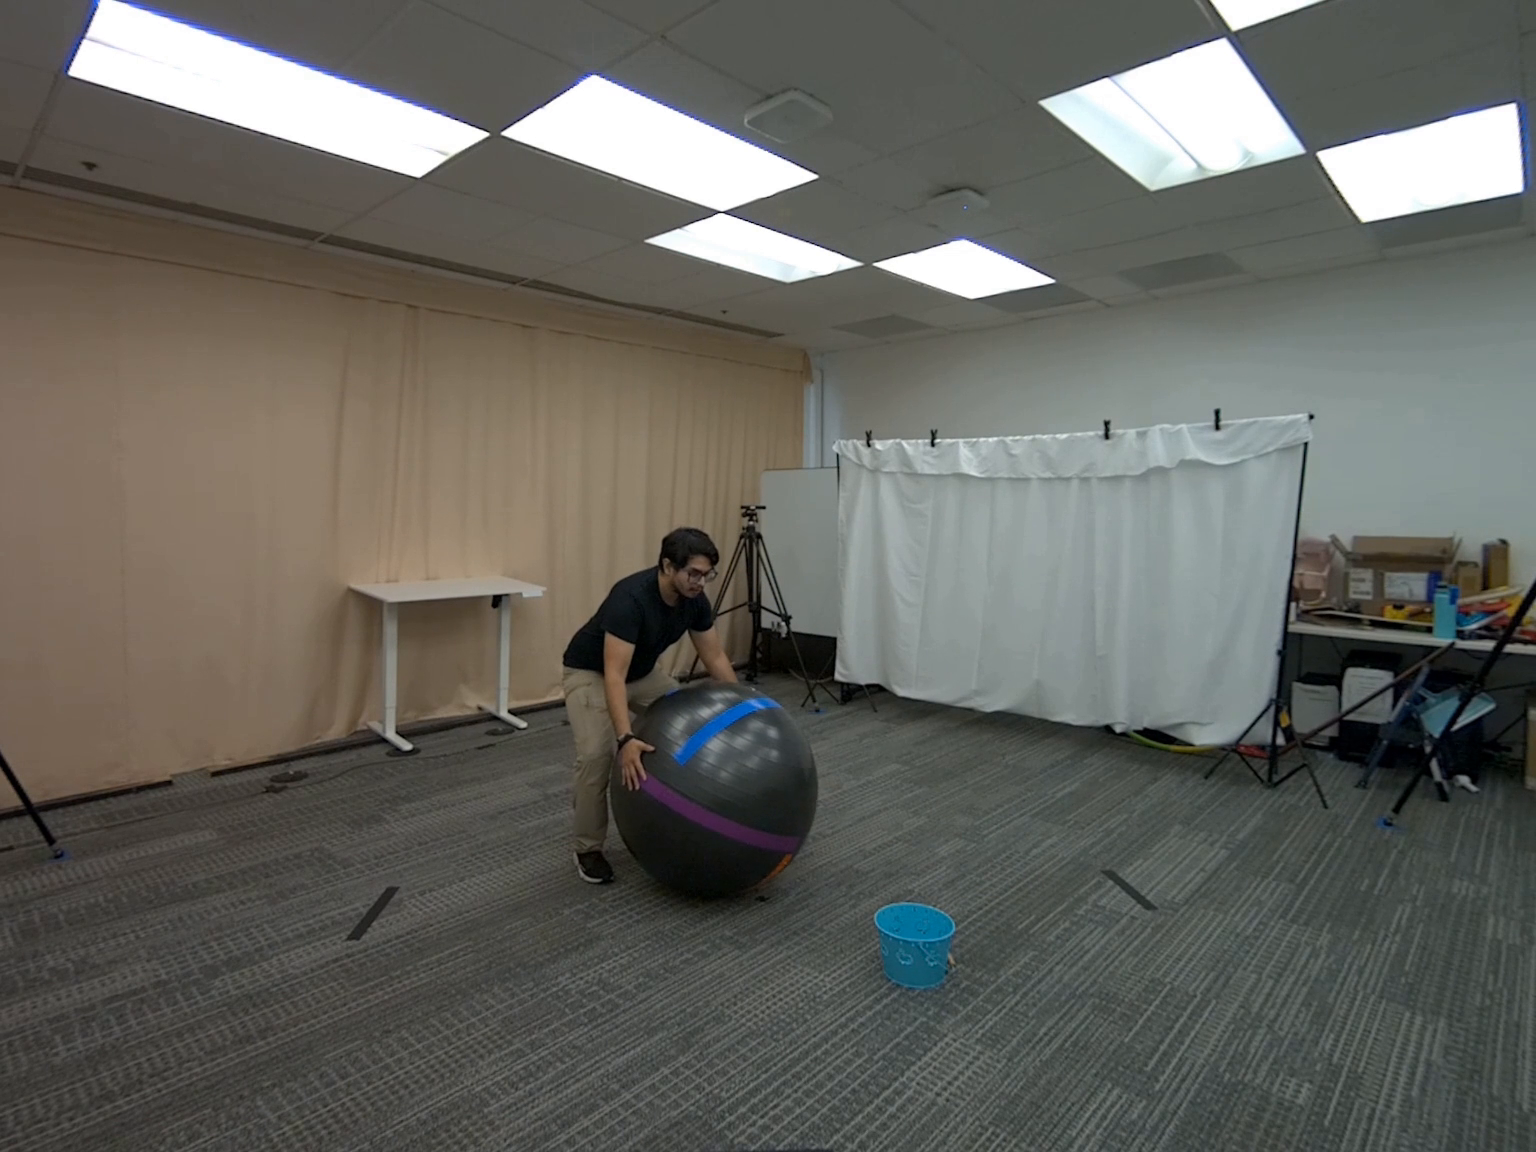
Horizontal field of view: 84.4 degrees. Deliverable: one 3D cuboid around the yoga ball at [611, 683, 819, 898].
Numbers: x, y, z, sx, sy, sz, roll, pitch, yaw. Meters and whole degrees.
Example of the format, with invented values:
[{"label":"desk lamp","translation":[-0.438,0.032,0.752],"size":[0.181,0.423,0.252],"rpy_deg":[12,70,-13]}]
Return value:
[{"label":"yoga ball","translation":[-0.193,0.771,3.090],"size":[0.757,0.756,0.761],"rpy_deg":[0,4,-2]}]
